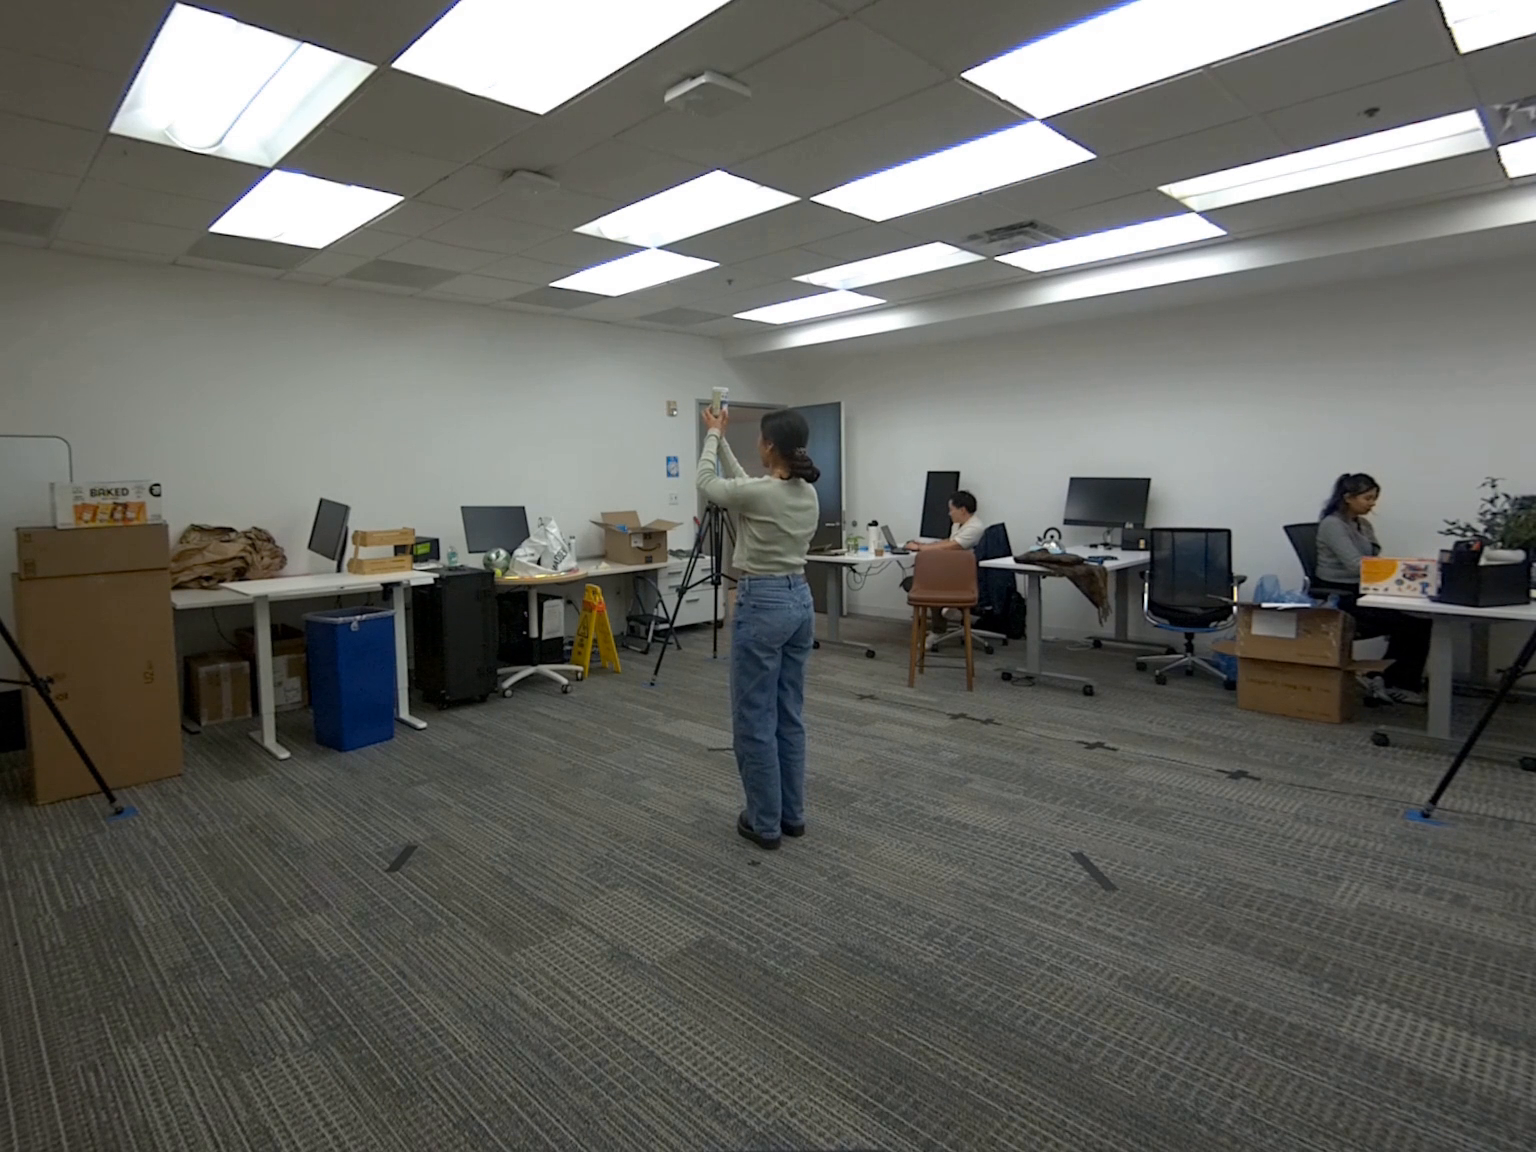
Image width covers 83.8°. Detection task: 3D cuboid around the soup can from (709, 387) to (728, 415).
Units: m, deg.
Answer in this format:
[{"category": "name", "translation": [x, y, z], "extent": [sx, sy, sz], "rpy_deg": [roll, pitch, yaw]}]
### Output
[{"category": "soup can", "translation": [-0.203, -0.719, 3.534], "extent": [0.067, 0.121, 0.067], "rpy_deg": [7, 6, -3]}]
